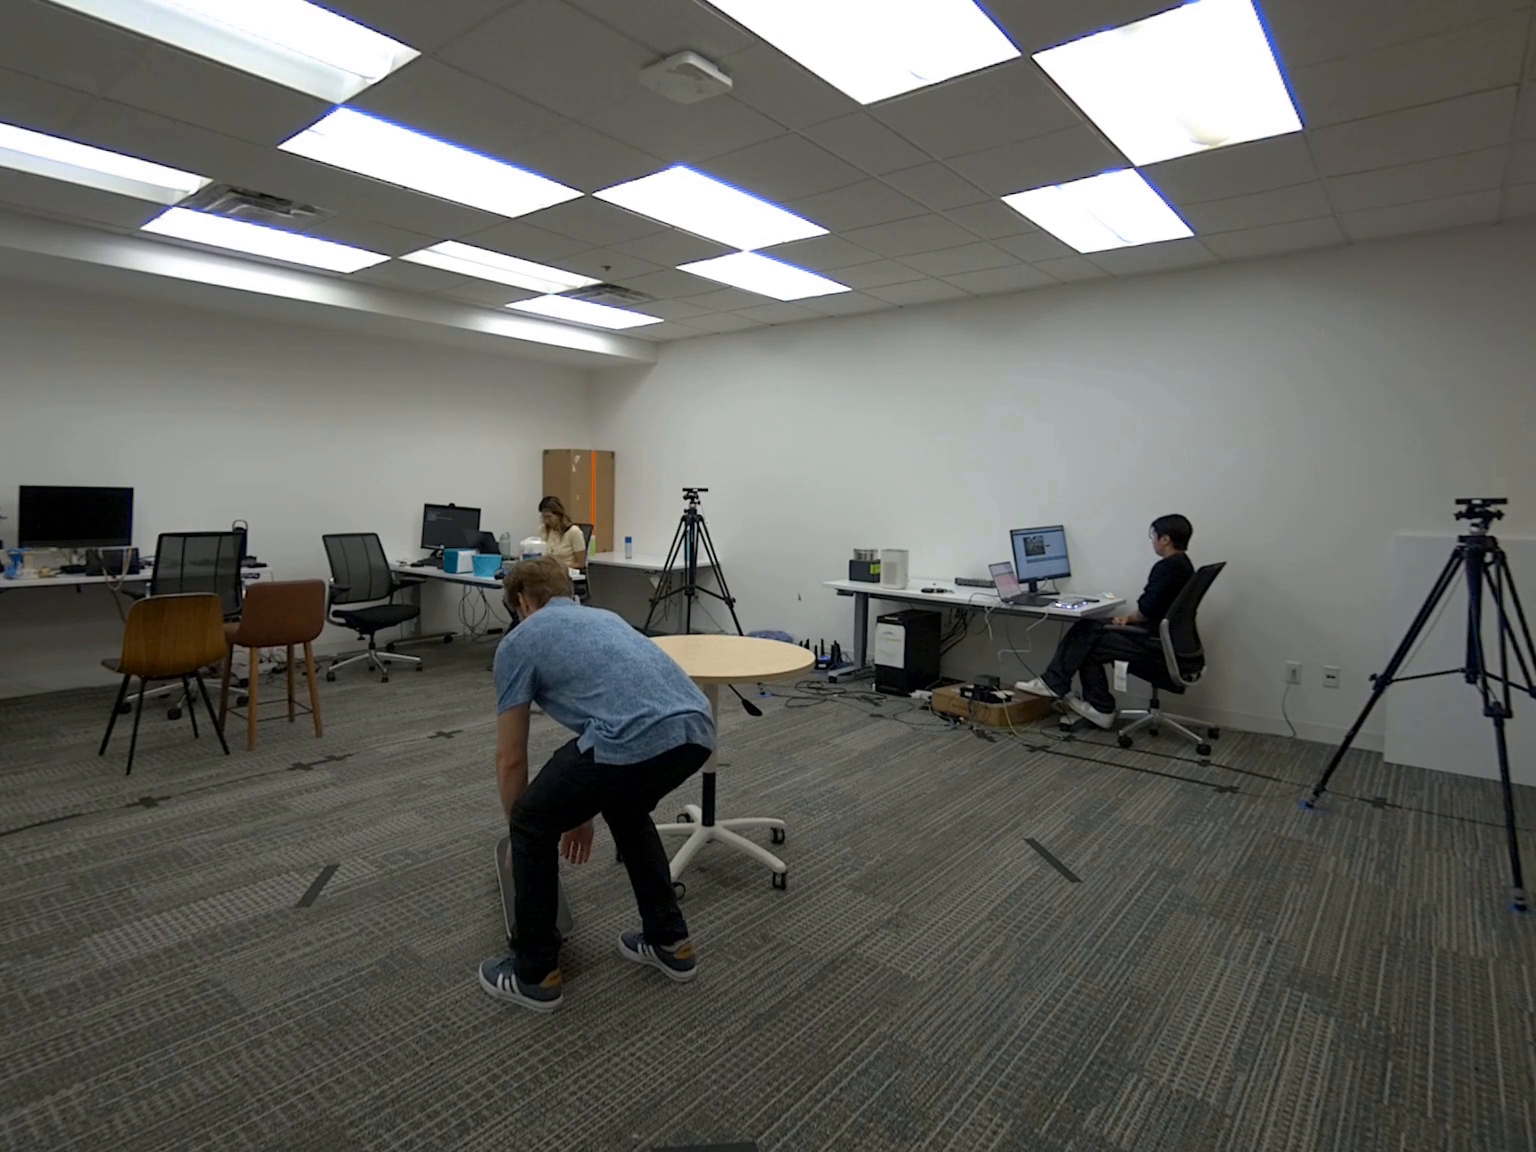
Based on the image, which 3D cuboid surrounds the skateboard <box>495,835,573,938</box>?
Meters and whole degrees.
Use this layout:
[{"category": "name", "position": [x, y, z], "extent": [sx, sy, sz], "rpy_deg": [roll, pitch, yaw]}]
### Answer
[{"category": "skateboard", "position": [-0.788, 1.038, 2.775], "extent": [0.190, 0.110, 0.804], "rpy_deg": [-2, 7, -20]}]
